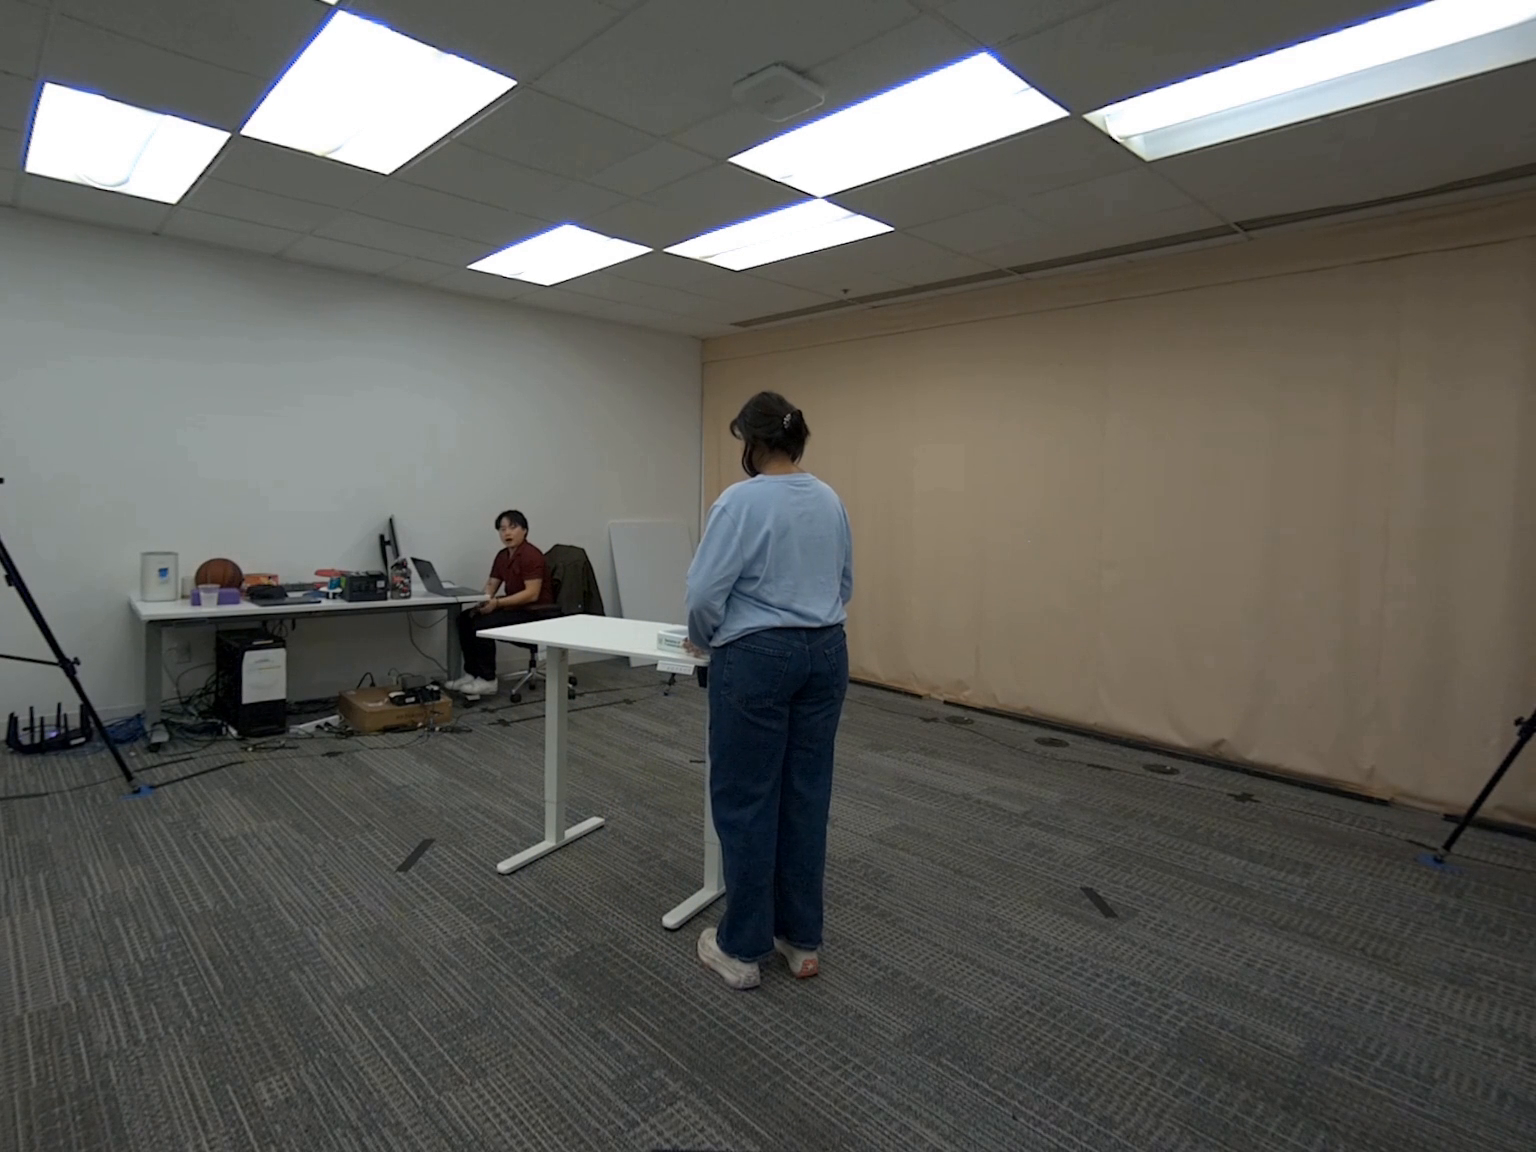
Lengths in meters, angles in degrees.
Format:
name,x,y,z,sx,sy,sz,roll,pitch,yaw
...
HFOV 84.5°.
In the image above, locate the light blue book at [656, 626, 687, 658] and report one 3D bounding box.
name,x,y,z,sx,sy,sz,roll,pitch,yaw
light blue book,-0.232,0.224,2.767,0.268,0.059,0.187,8,8,44
